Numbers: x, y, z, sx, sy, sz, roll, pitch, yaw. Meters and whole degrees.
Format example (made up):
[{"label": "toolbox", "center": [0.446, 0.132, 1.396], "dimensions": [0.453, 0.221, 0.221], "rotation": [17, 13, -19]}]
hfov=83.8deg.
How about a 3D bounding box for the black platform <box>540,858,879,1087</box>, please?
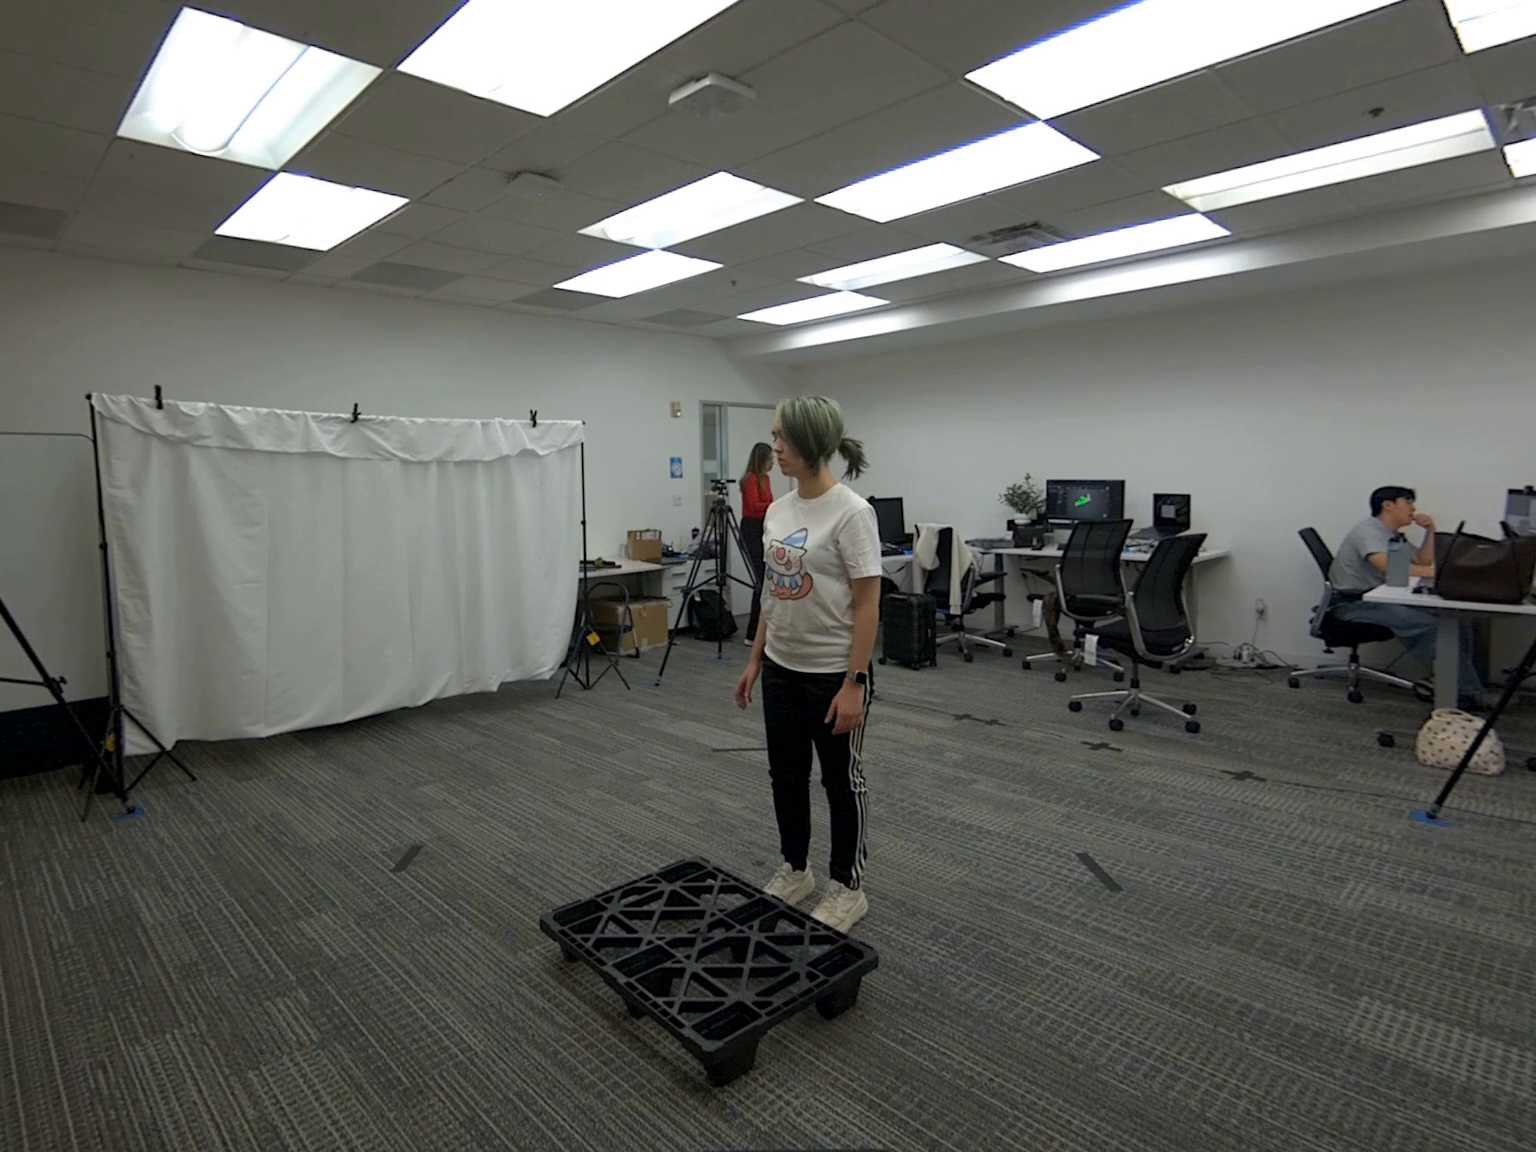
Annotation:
[{"label": "black platform", "center": [-0.184, 1.069, 2.402], "dimensions": [0.589, 0.142, 0.831], "rotation": [-7, 9, -41]}]
